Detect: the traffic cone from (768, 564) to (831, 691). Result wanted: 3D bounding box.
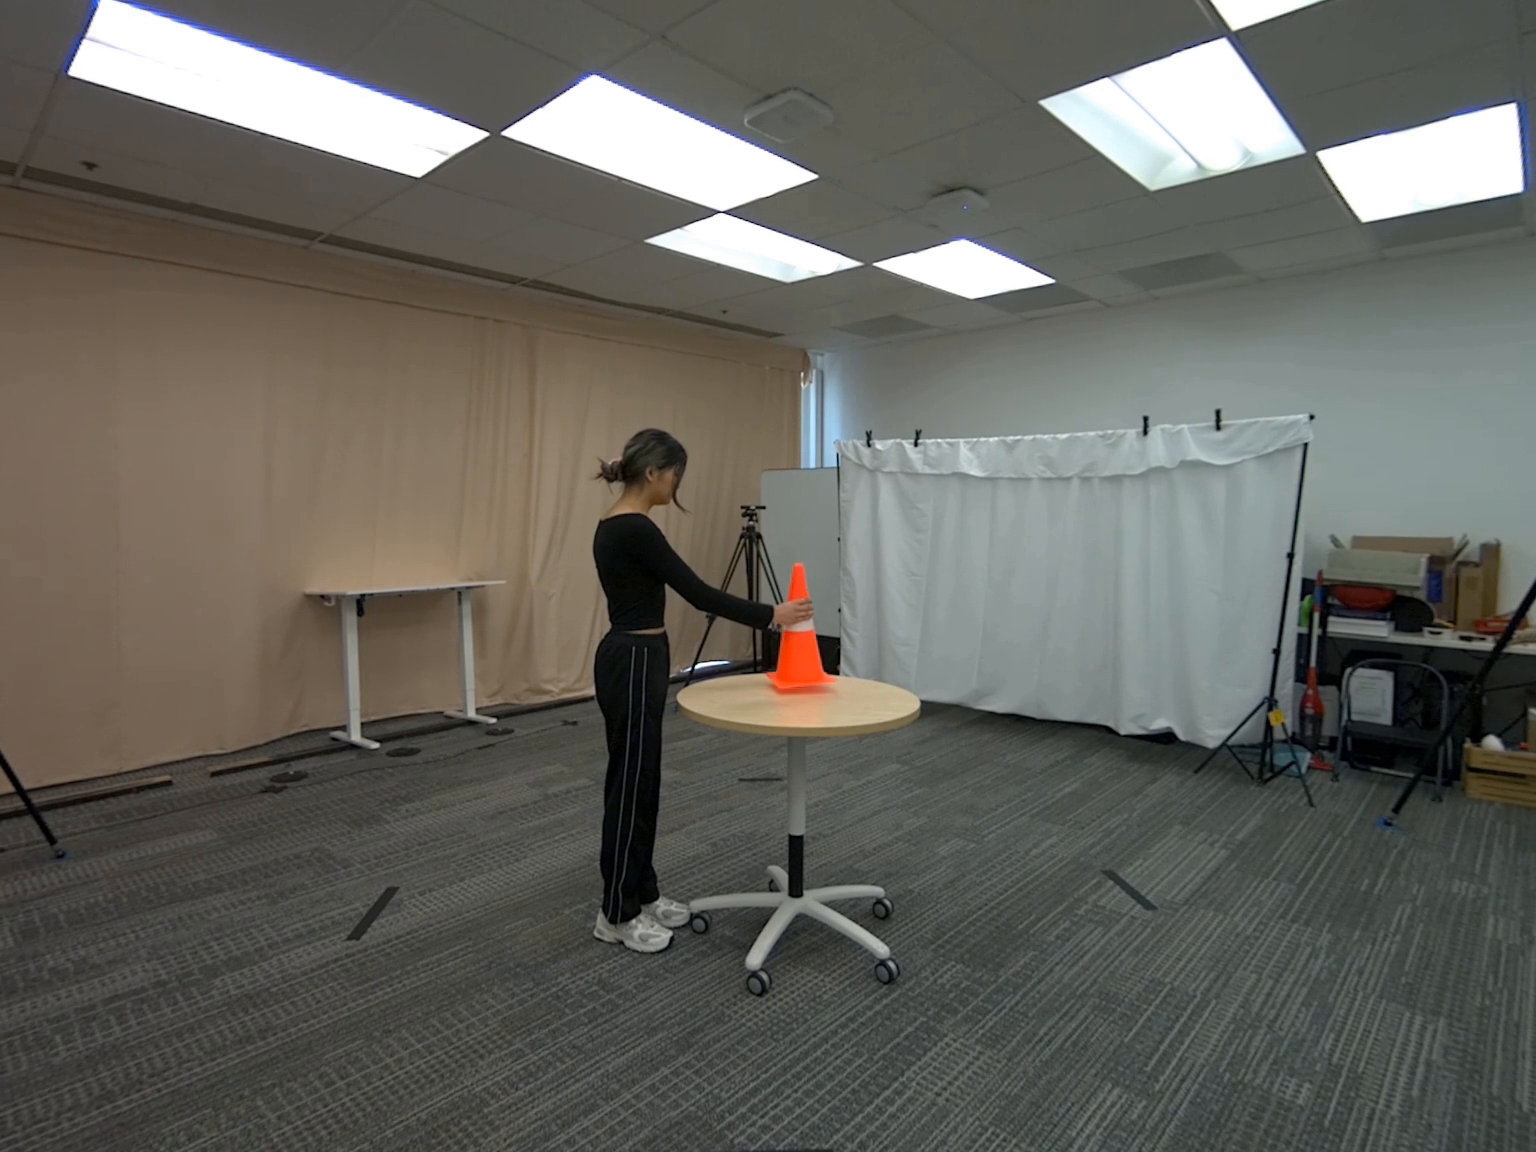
[{"bbox_3d":[0.102,0.157,2.761,0.202,0.382,0.207,-2,7,-8],"label":"traffic cone"}]
